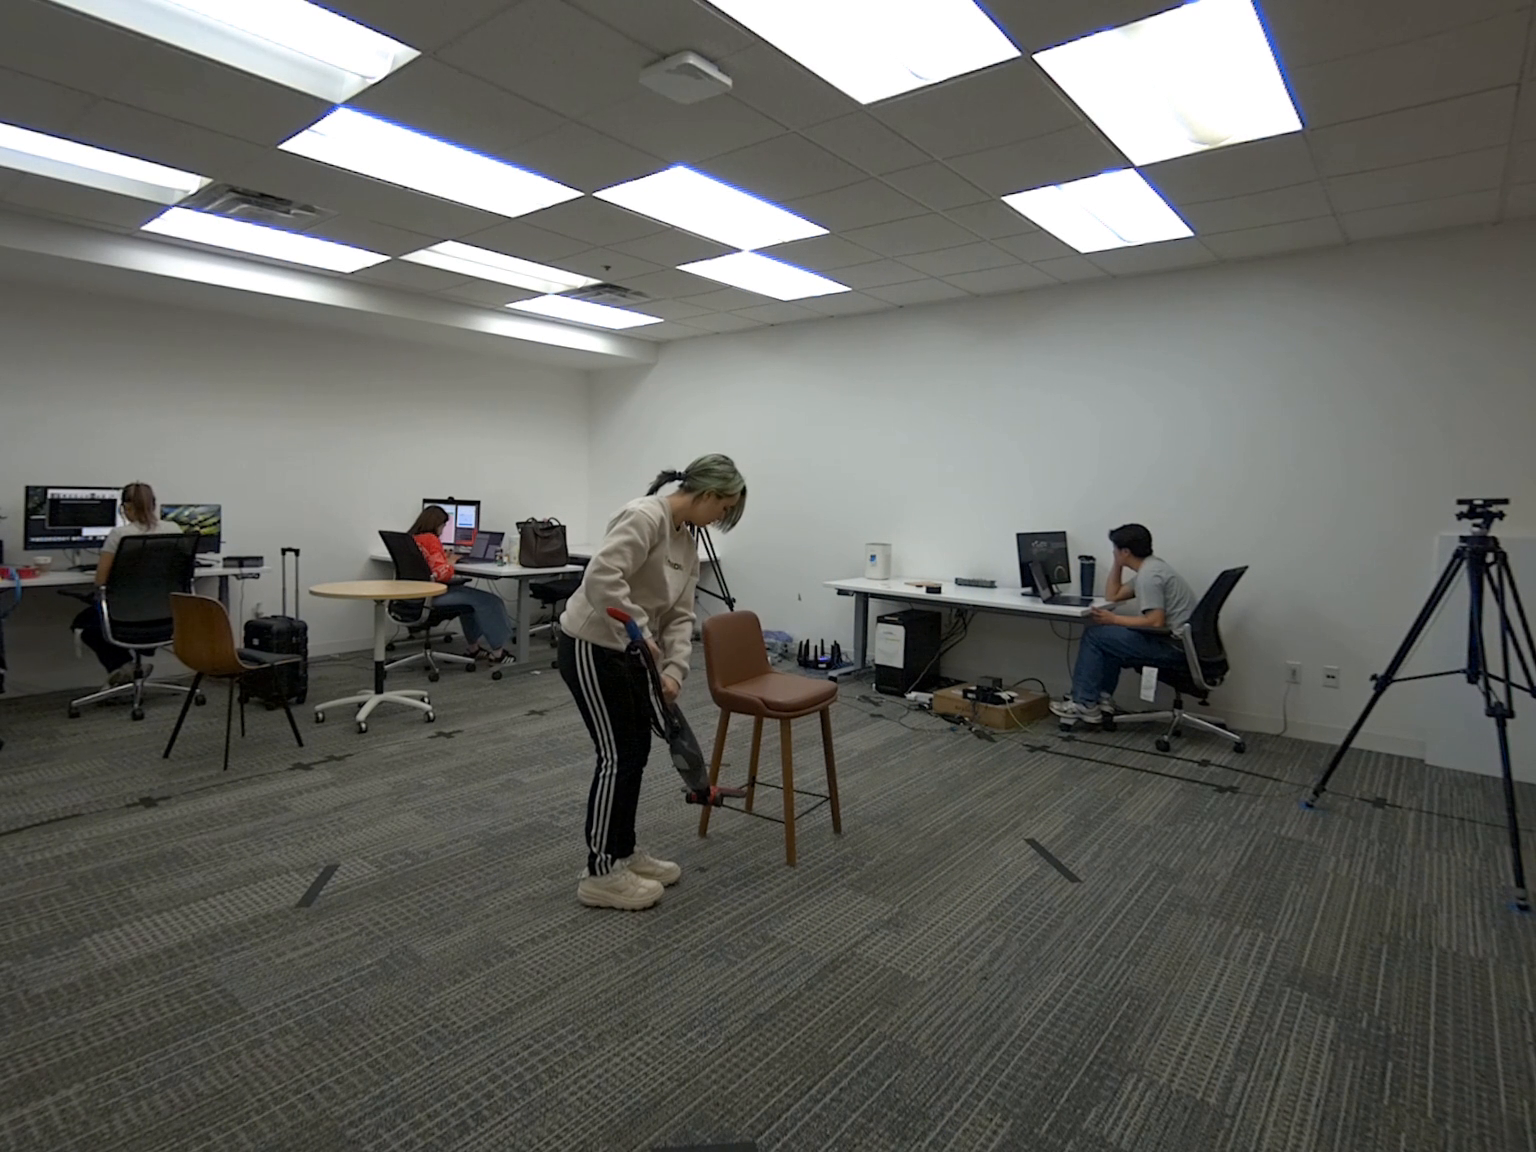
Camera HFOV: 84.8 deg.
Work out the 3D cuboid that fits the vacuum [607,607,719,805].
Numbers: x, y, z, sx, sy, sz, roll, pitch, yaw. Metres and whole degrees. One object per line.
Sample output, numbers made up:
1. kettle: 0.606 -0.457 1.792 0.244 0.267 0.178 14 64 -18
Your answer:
1. vacuum: -0.340 0.458 2.826 0.259 1.012 0.145 6 45 22
